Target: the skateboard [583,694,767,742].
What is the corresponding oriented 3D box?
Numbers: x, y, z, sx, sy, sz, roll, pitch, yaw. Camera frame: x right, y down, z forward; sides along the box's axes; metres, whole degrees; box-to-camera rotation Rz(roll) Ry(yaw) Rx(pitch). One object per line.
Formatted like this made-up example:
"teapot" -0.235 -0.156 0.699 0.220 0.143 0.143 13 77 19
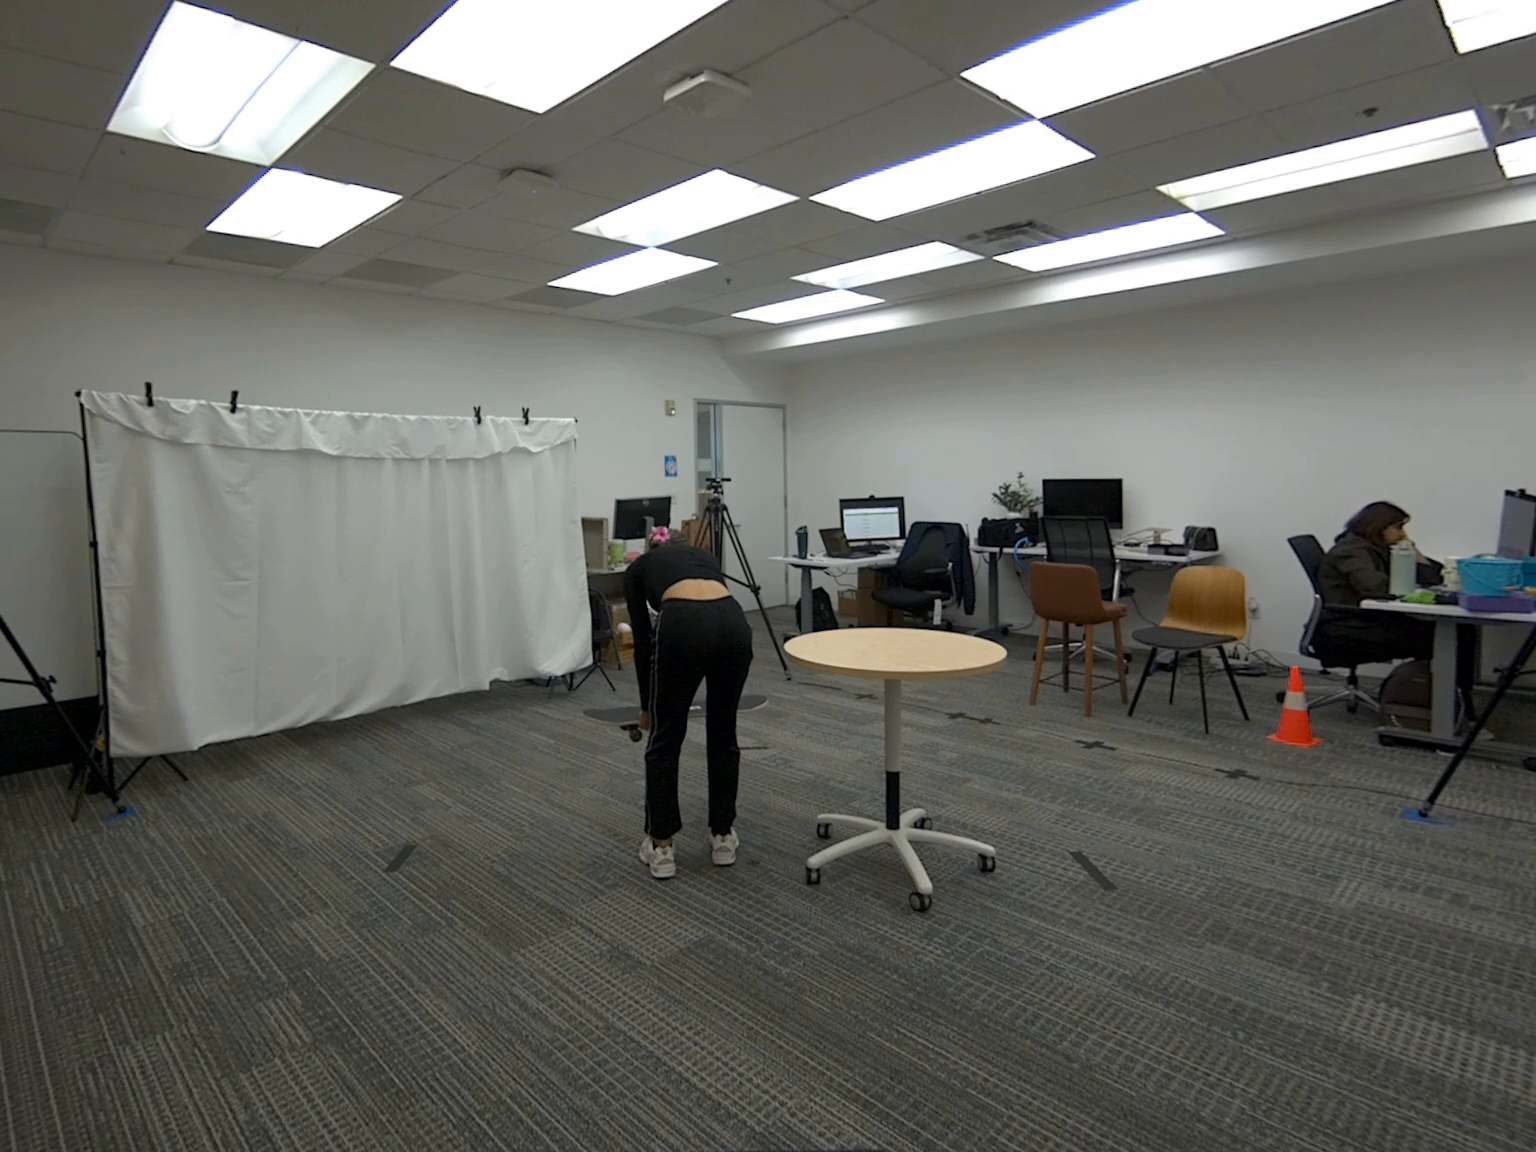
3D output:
"skateboard" -0.367 0.573 3.470 0.770 0.109 0.199 -2 9 -23
